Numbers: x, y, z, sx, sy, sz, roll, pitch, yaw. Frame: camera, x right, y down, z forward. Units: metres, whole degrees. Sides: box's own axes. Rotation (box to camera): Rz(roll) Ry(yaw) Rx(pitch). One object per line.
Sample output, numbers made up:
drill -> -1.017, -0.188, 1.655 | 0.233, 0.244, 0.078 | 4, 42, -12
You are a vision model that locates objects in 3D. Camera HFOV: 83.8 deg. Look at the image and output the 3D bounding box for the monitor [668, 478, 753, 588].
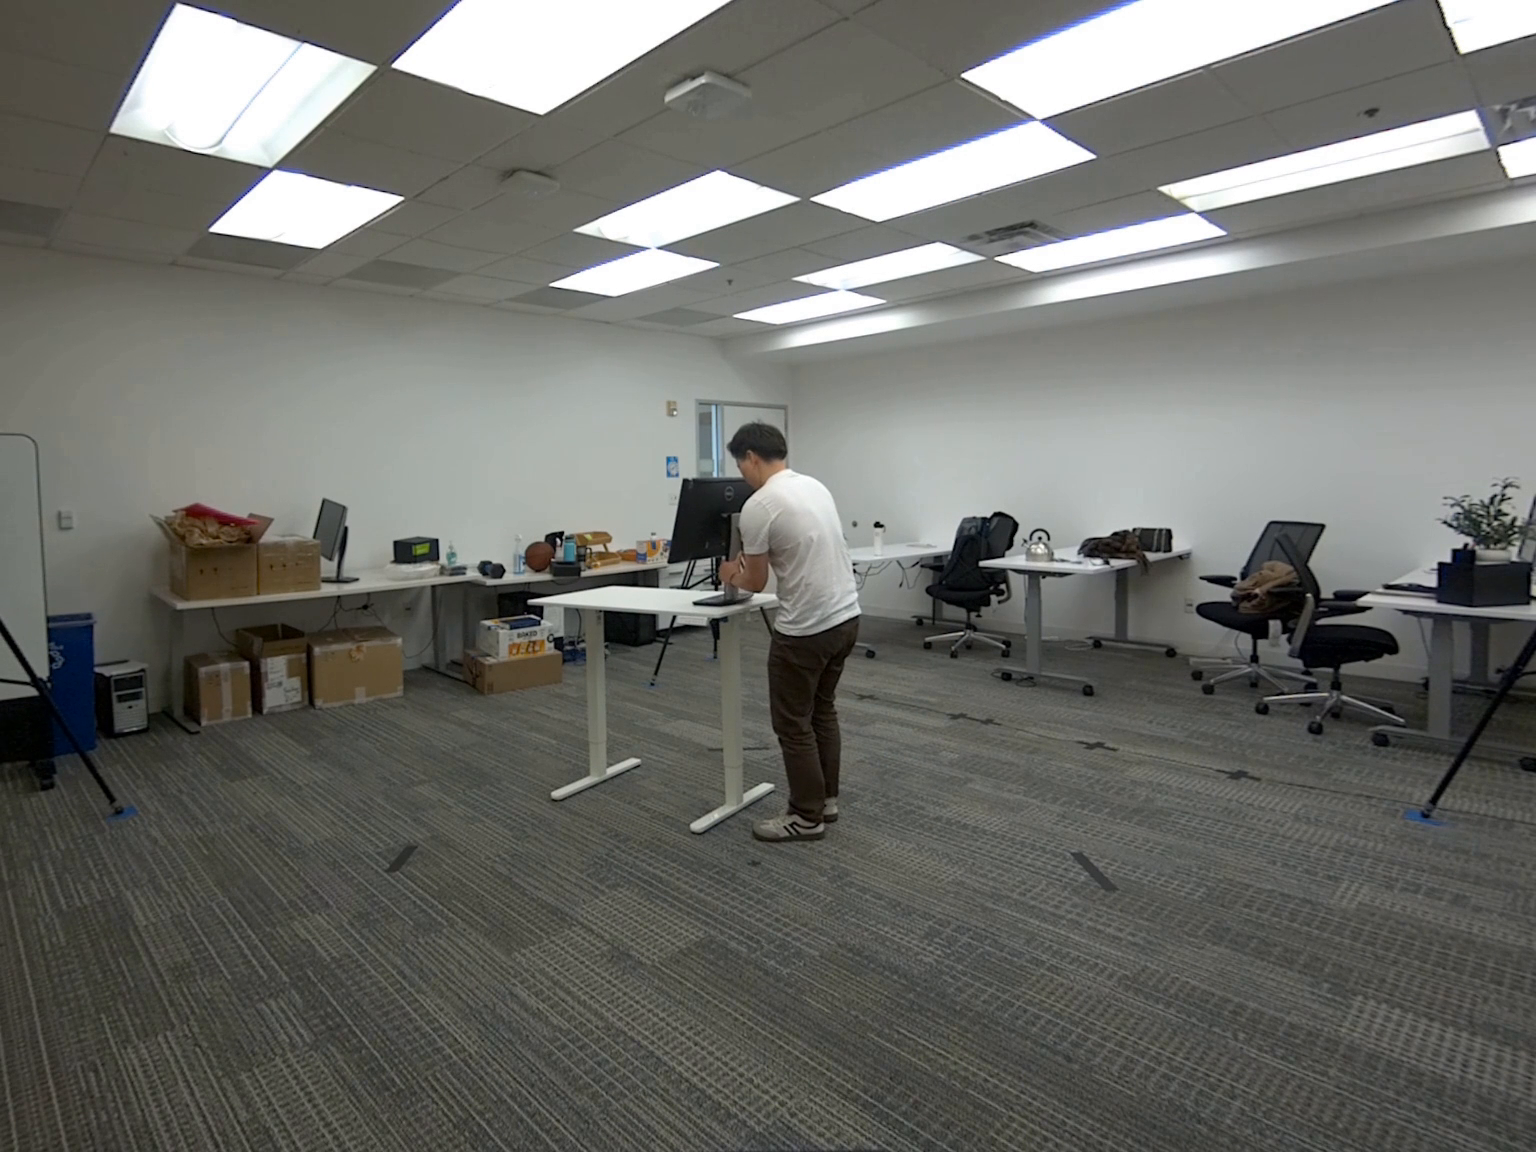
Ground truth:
monitor -> -0.177, -0.154, 3.554 | 0.192, 0.520, 0.527 | 4, 7, 32
